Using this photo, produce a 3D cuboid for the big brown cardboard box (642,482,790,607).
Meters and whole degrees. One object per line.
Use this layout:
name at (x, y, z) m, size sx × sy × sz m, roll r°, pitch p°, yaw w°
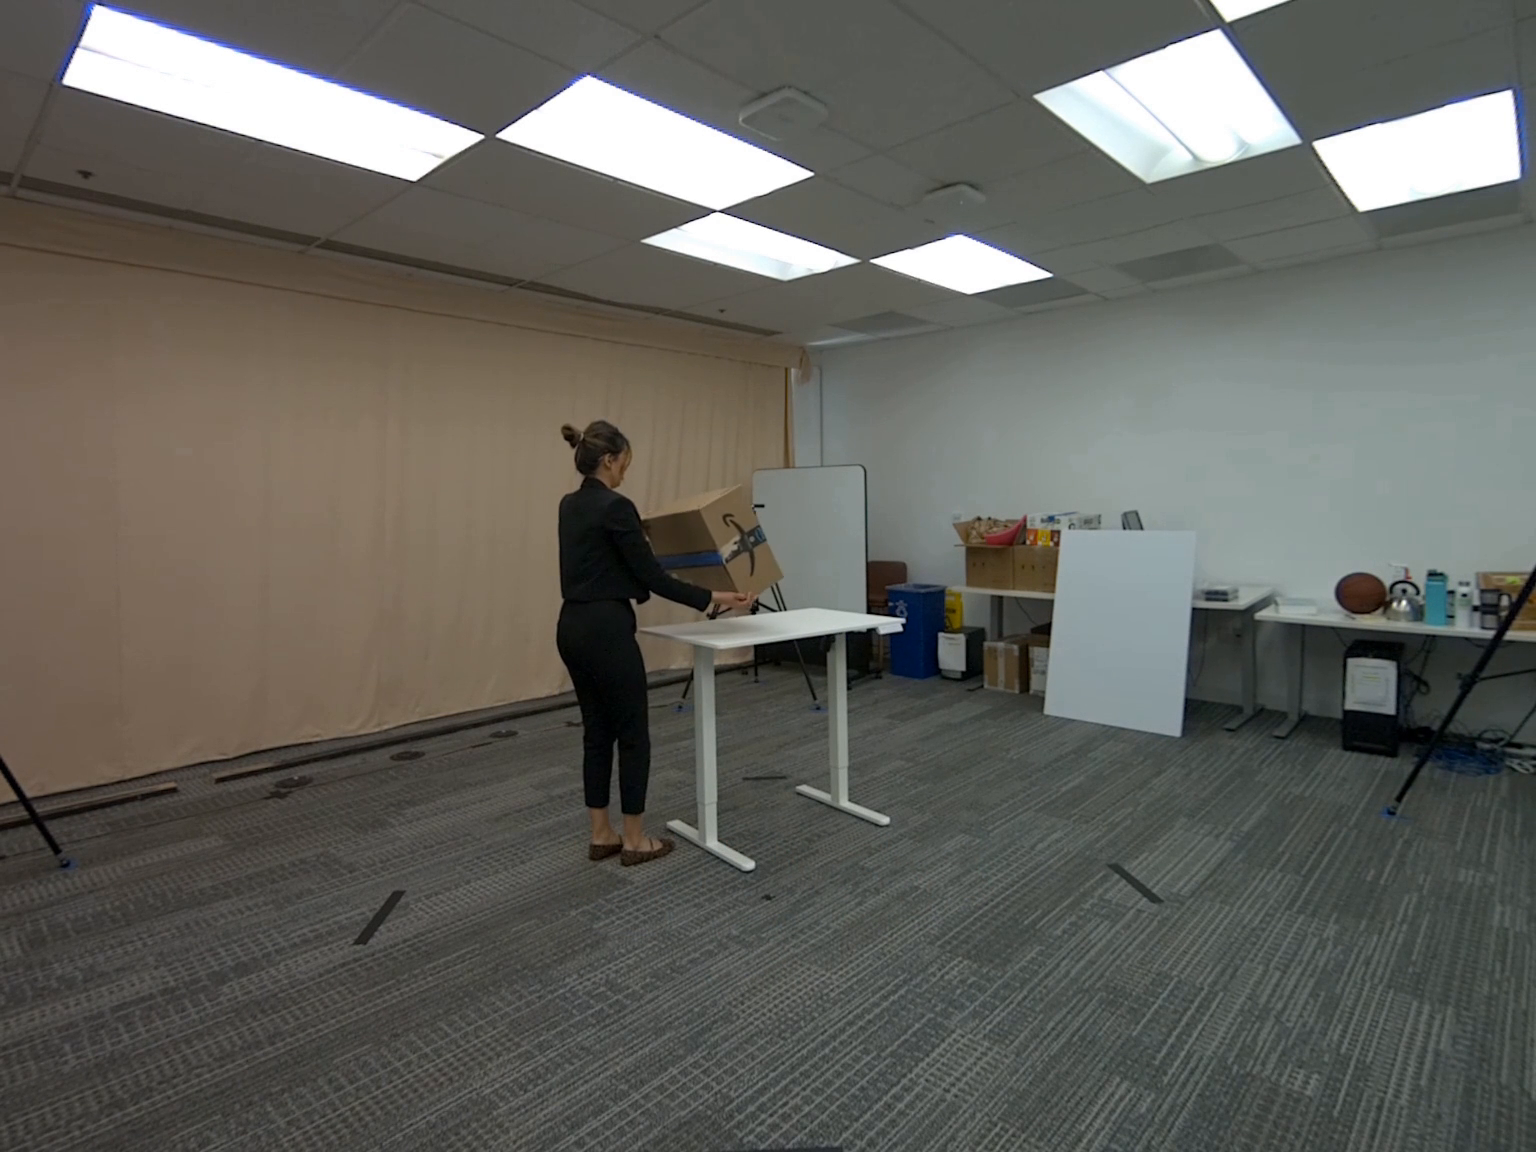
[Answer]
big brown cardboard box at (-0.249, -0.113, 3.506) m, size 0.230 × 0.413 × 0.604 m, roll -32°, pitch 14°, yaw -28°
